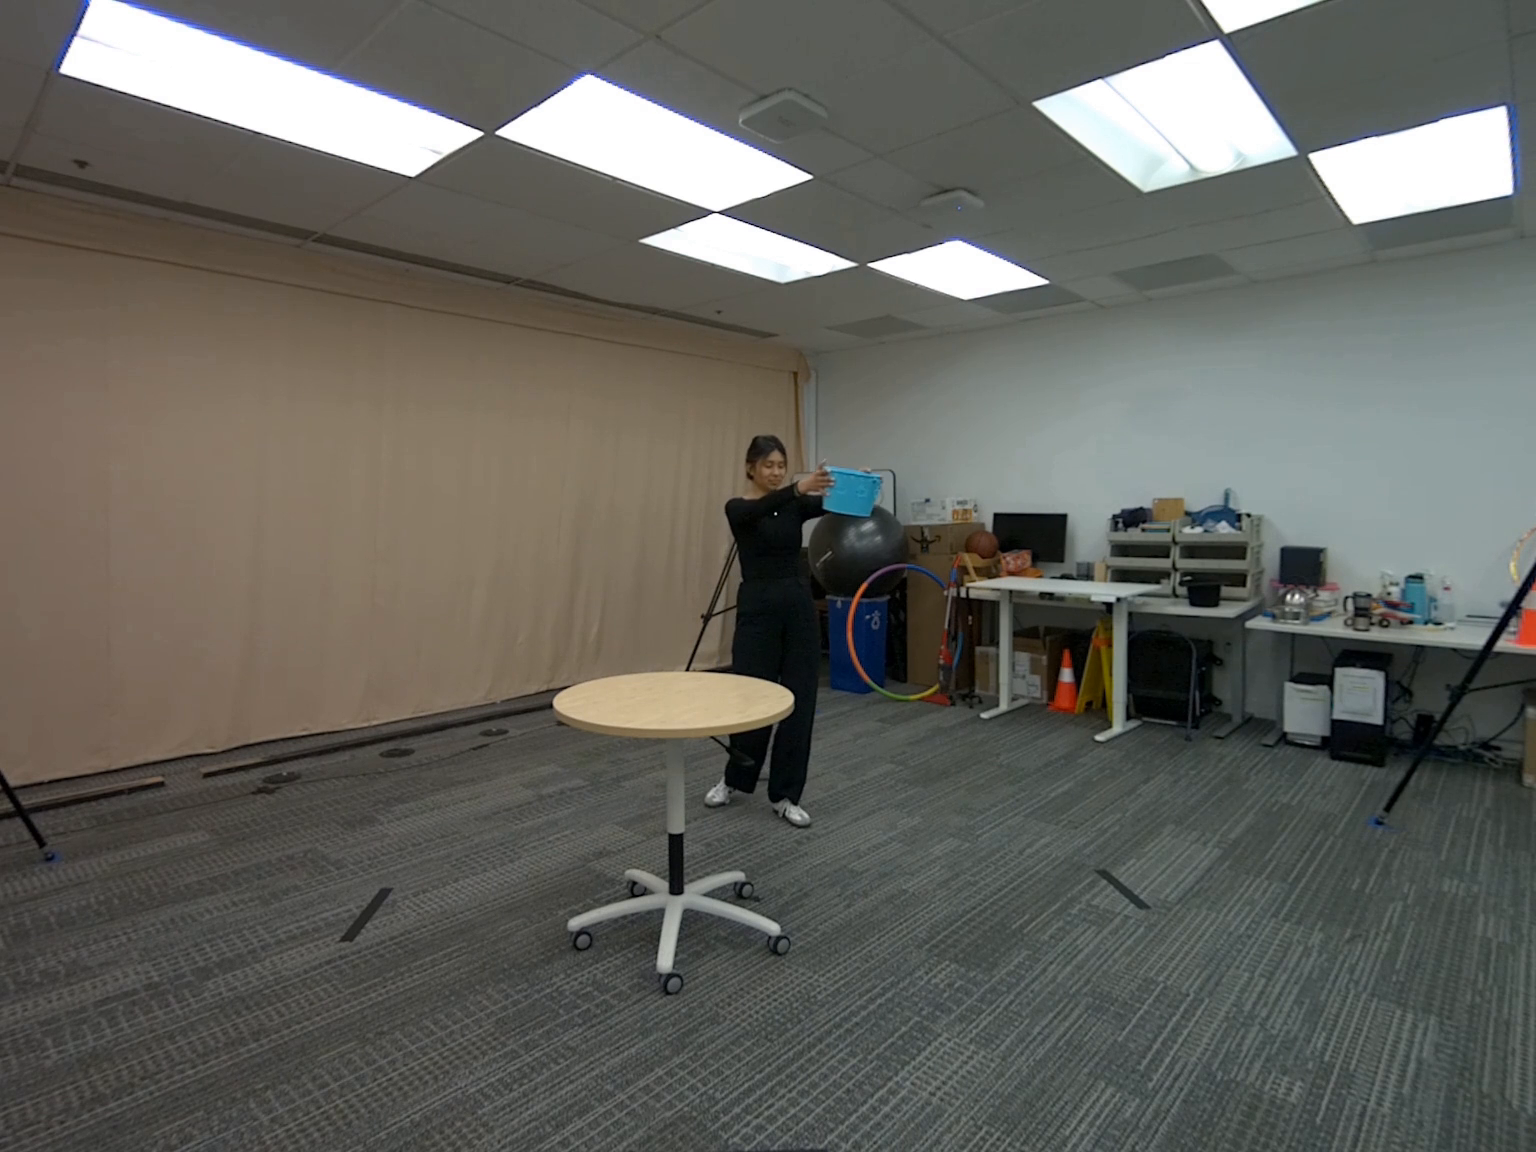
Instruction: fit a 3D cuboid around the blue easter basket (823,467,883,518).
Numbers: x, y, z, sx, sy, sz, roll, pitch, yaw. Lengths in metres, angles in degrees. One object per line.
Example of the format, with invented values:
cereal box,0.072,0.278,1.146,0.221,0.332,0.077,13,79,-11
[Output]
blue easter basket,0.315,-0.315,3.176,0.243,0.155,0.245,6,9,-3
